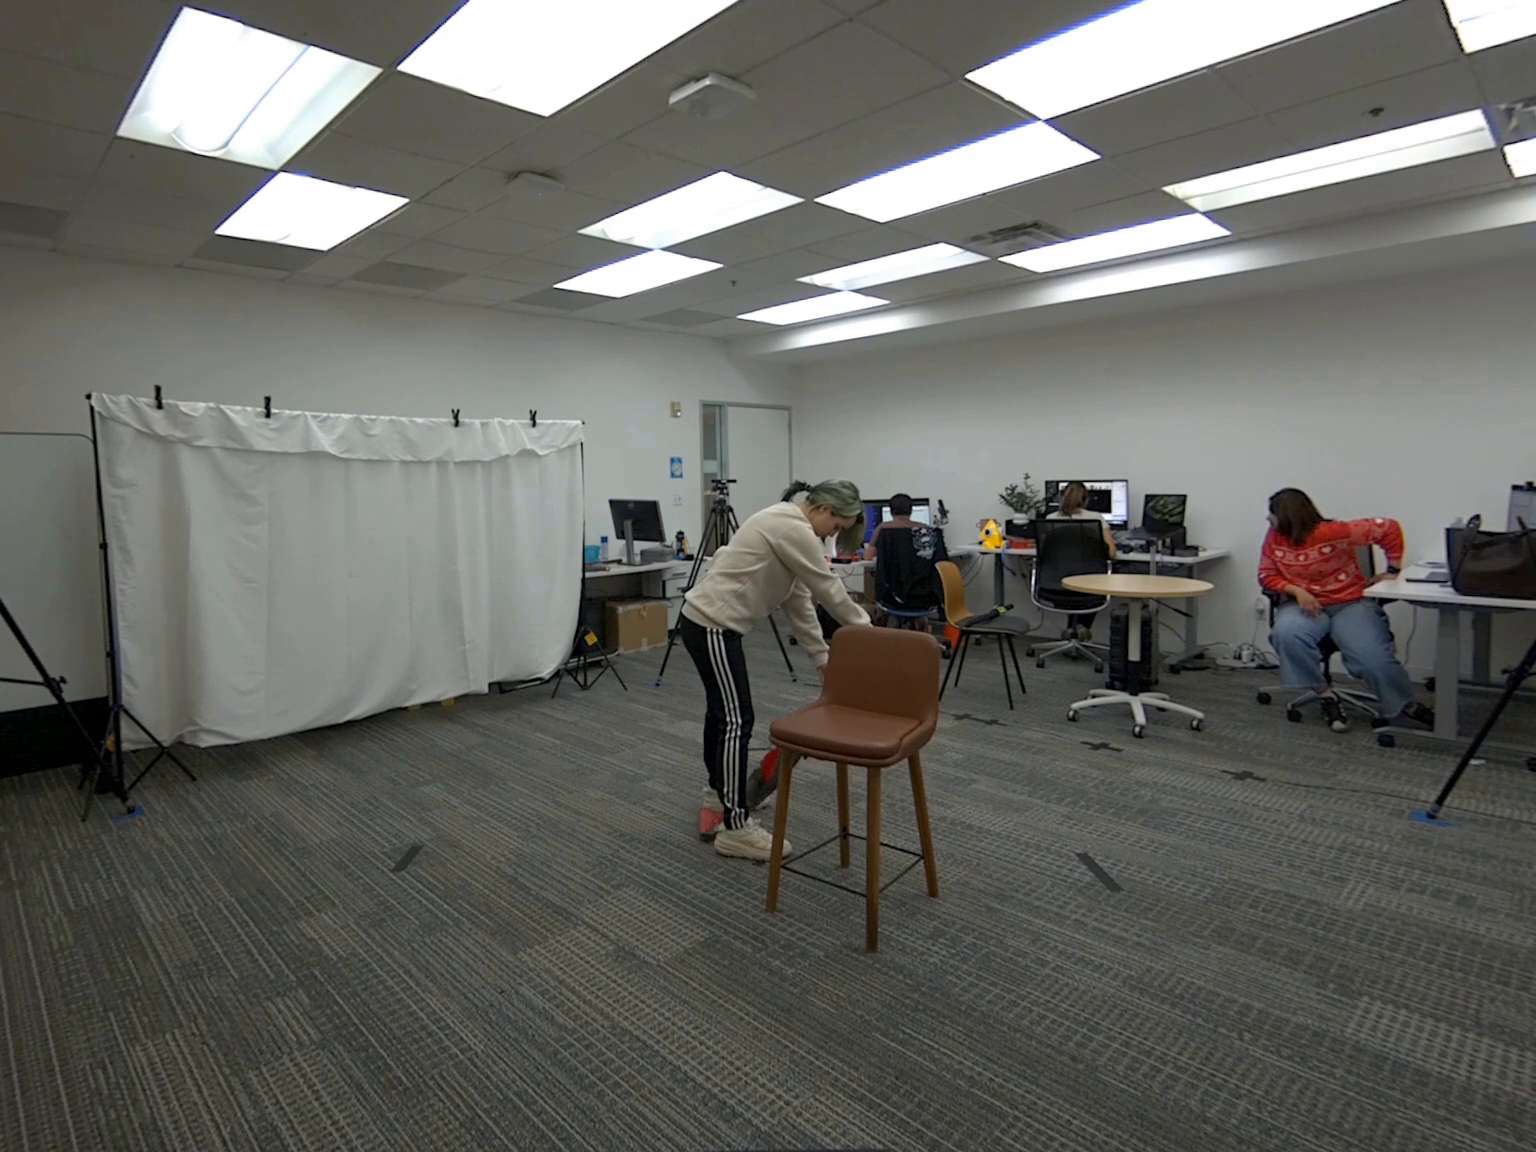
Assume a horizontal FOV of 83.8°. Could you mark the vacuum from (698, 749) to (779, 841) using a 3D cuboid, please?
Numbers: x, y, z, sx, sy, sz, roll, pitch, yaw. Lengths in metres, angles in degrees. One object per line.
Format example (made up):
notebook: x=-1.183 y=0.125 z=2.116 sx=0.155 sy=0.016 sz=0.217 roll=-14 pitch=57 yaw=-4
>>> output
vacuum: x=0.179 y=0.621 z=3.398 sx=1.049 sy=0.144 sz=0.253 roll=-45 pitch=4 yaw=0
